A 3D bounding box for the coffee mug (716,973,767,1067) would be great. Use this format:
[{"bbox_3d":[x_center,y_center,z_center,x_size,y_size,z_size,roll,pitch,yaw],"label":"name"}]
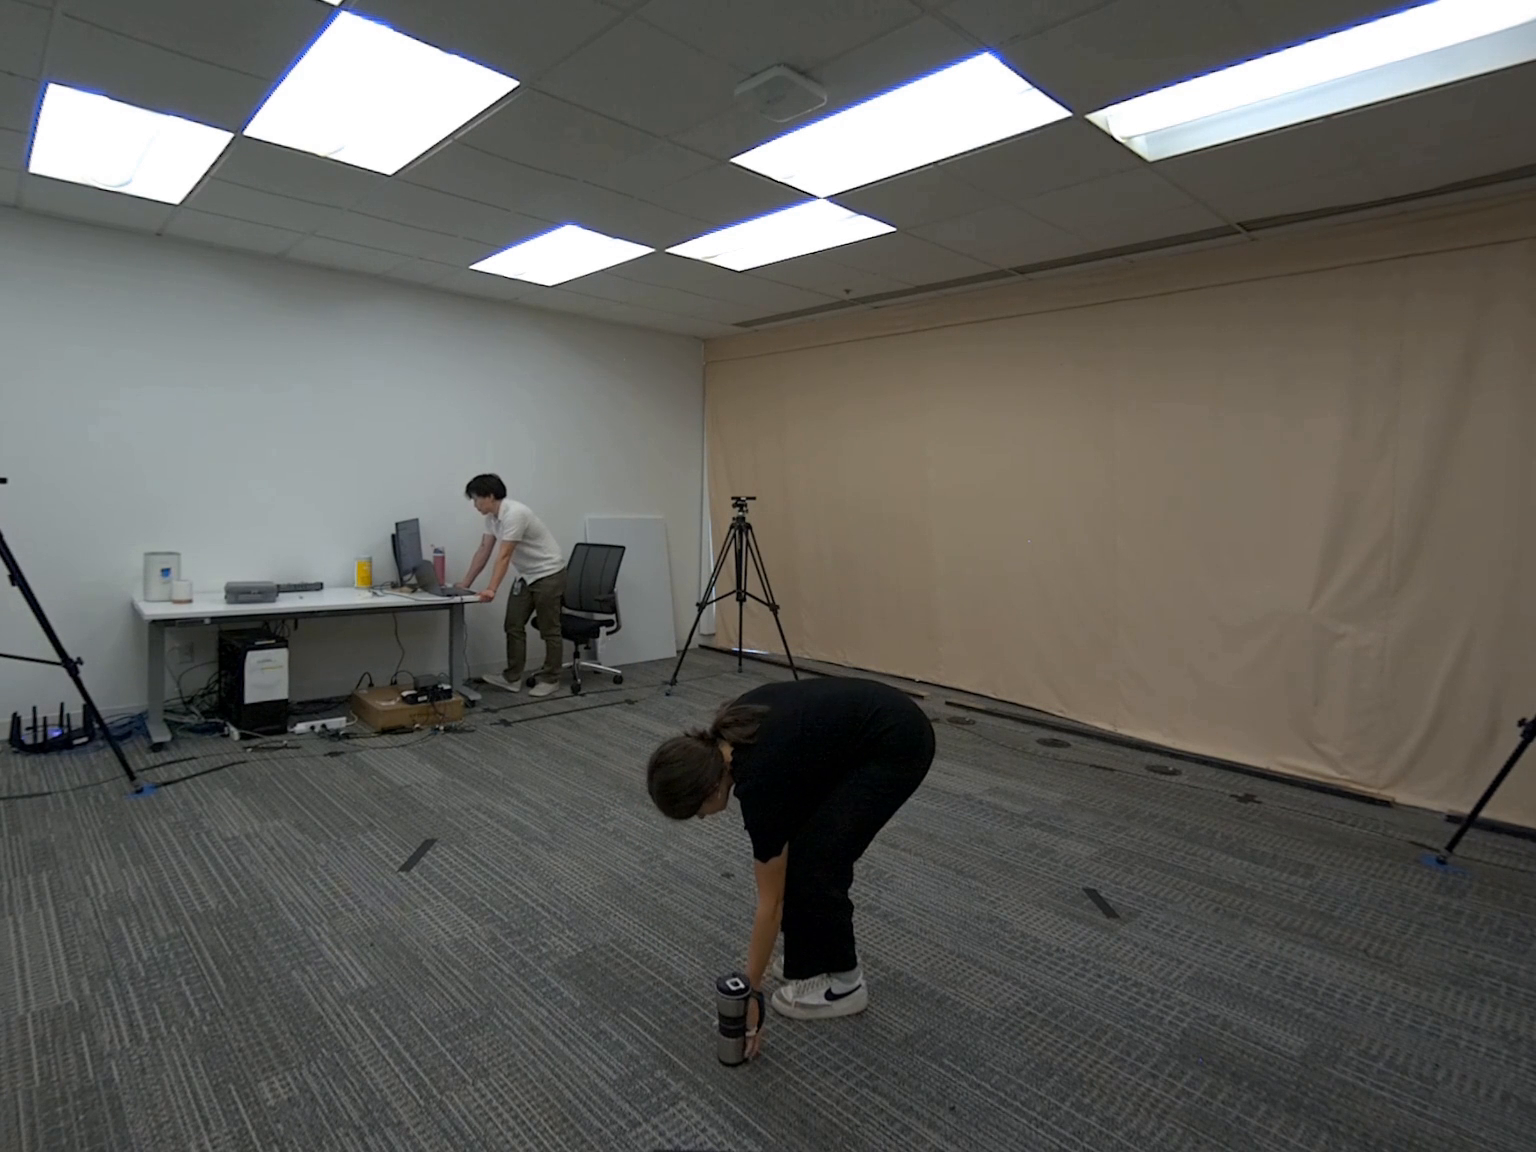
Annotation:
[{"bbox_3d":[-0.075,1.108,2.059,0.125,0.202,0.086,6,6,42],"label":"coffee mug"}]
